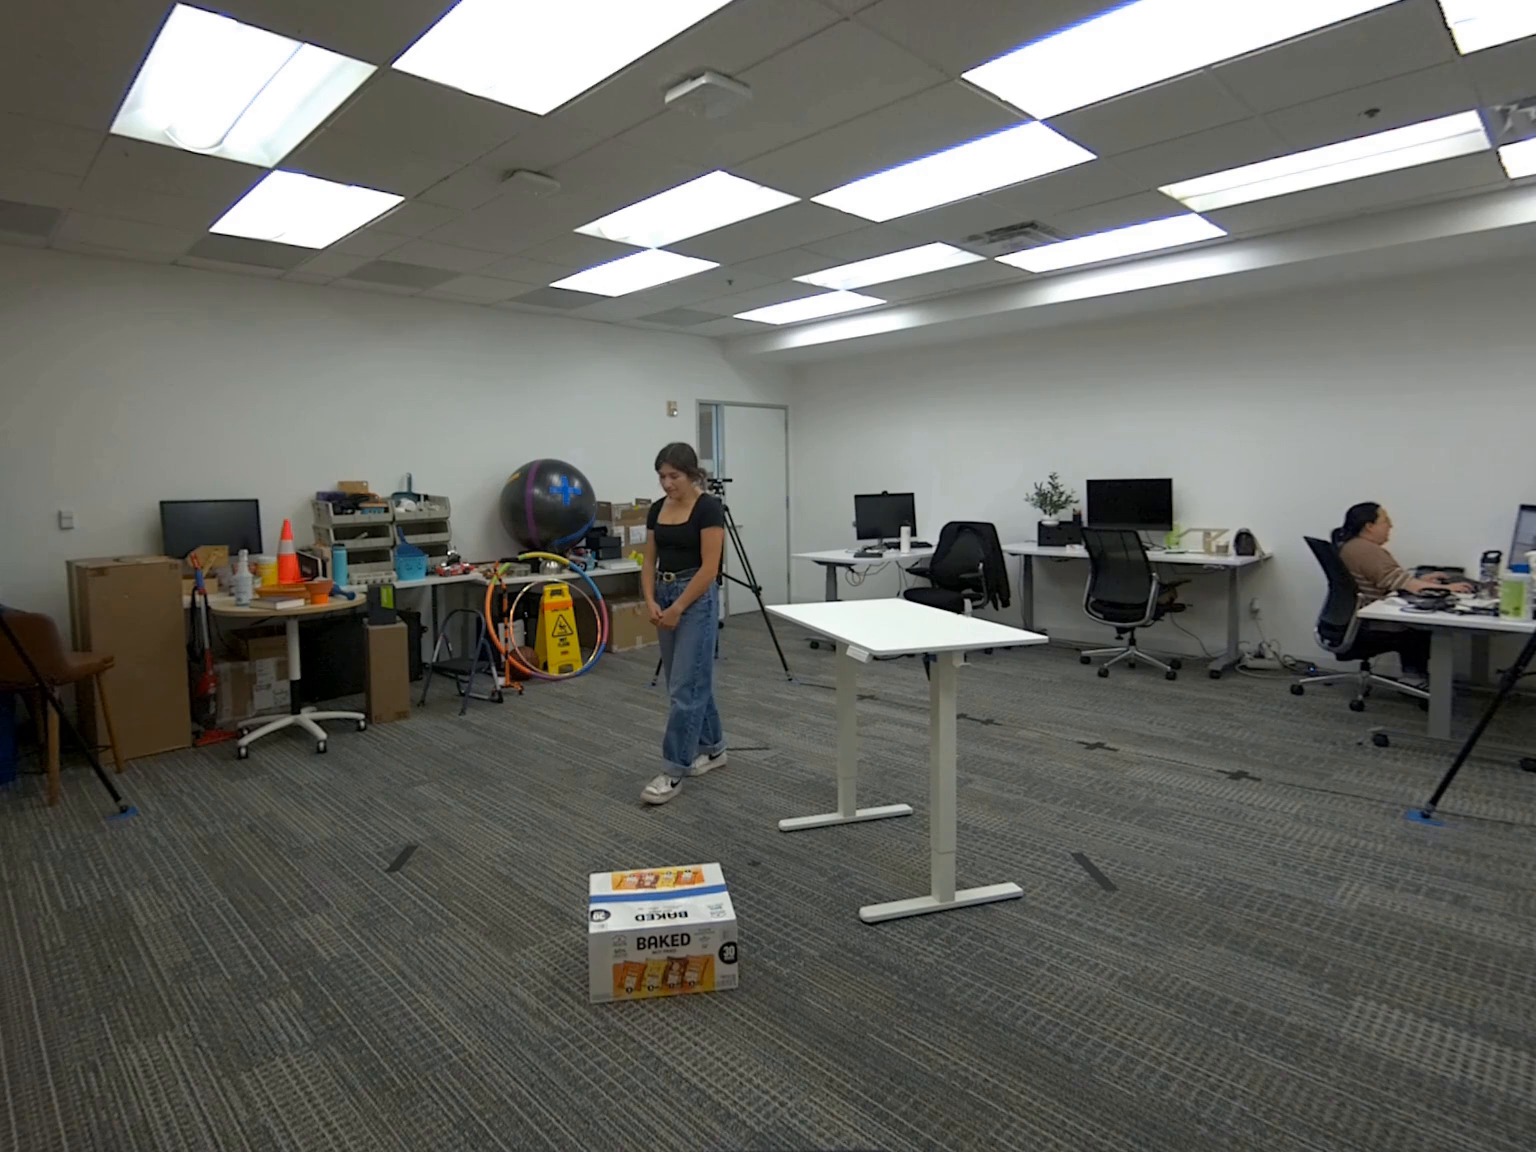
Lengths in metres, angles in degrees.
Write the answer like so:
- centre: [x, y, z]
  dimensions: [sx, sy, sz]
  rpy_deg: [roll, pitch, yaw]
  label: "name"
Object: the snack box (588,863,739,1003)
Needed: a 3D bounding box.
- centre: [-0.310, 1.025, 2.471]
  dimensions: [0.402, 0.205, 0.345]
  rpy_deg: [-2, 6, -9]
  label: "snack box"
